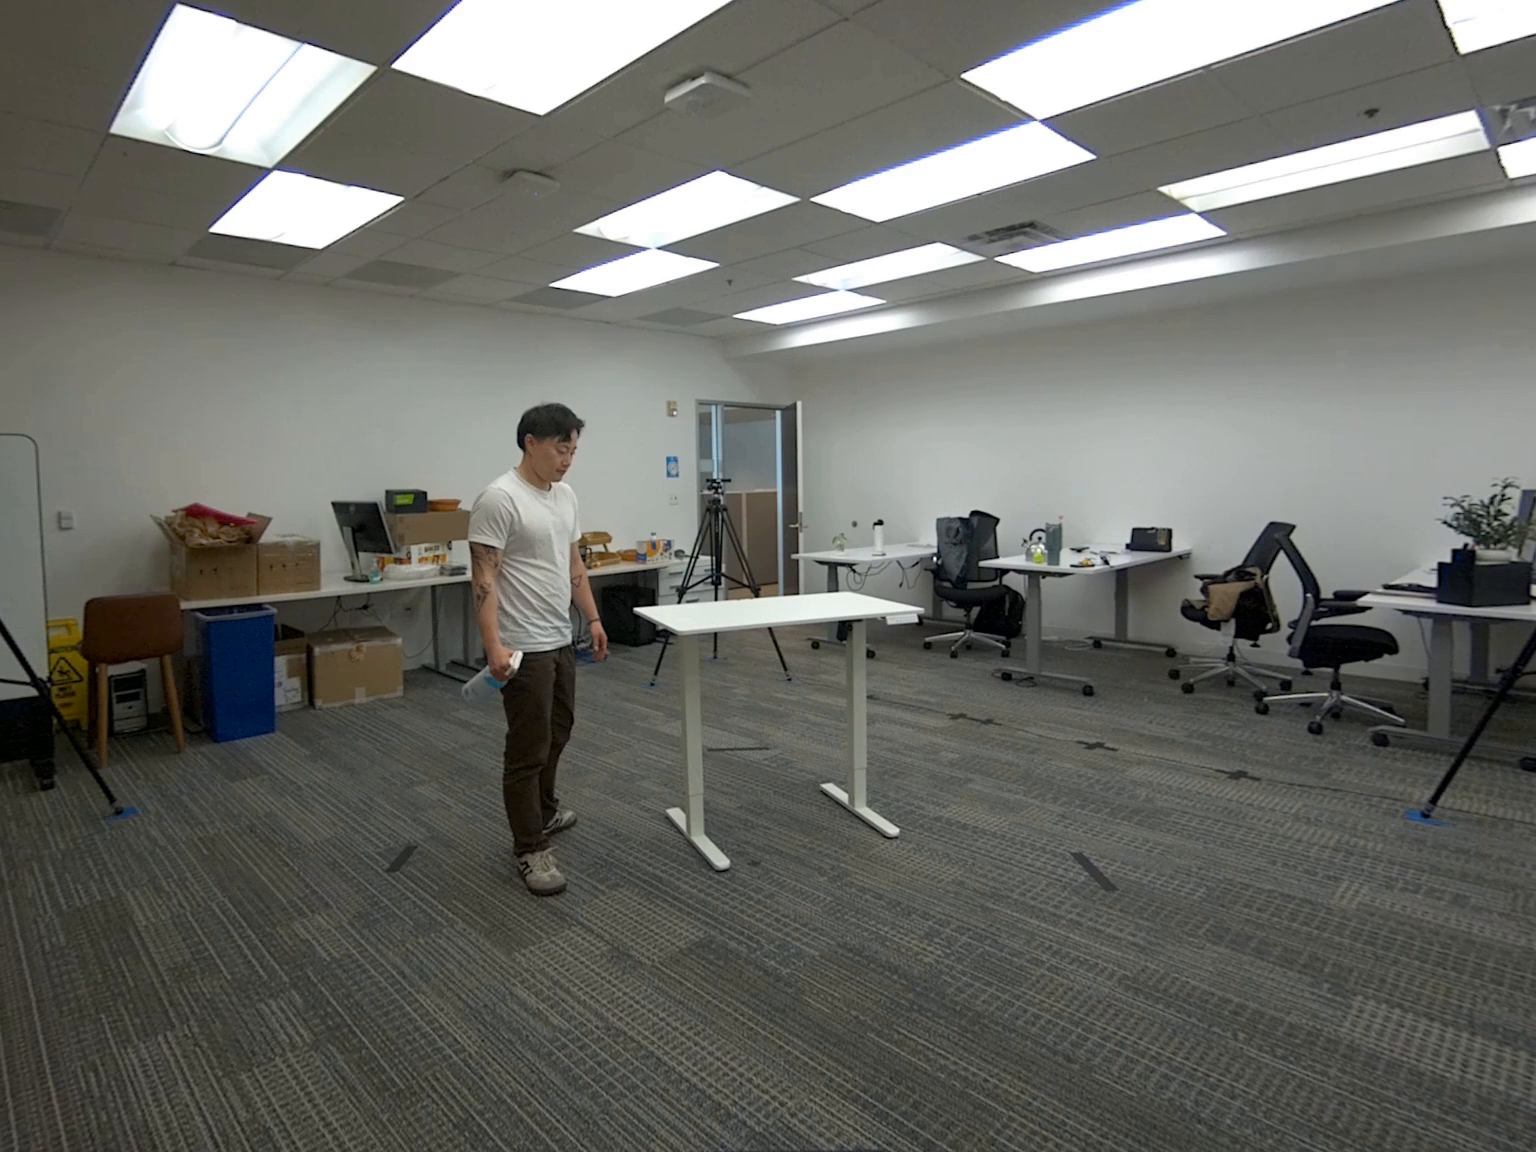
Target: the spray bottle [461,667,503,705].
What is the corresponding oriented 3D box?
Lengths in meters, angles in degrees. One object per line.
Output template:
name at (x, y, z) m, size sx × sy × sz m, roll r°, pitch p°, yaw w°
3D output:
spray bottle at (-0.905, 0.332, 2.817) m, size 0.298 × 0.087 × 0.090 m, roll -41°, pitch 2°, yaw 37°
